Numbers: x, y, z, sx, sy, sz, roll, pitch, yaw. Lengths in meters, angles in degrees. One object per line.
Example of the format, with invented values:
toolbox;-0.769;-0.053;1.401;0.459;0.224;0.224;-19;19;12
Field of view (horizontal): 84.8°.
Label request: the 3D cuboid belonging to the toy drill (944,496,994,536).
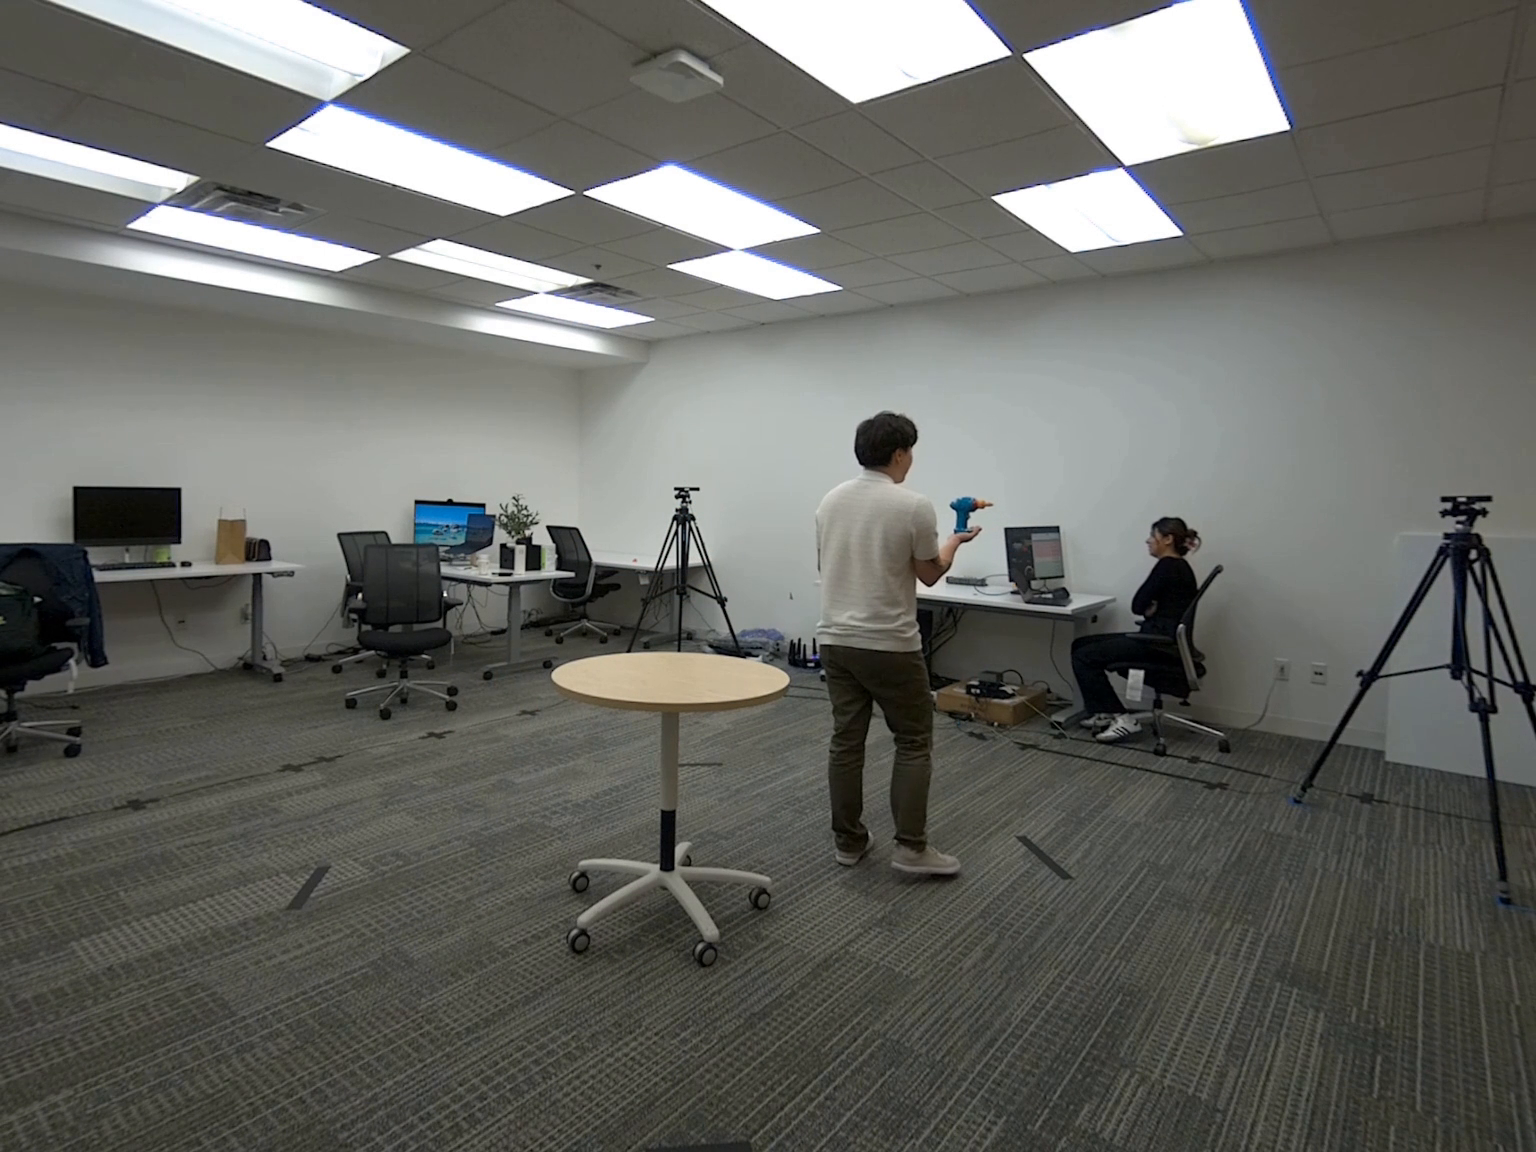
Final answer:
toy drill;0.778;-0.235;3.266;0.175;0.145;0.059;1;6;35
